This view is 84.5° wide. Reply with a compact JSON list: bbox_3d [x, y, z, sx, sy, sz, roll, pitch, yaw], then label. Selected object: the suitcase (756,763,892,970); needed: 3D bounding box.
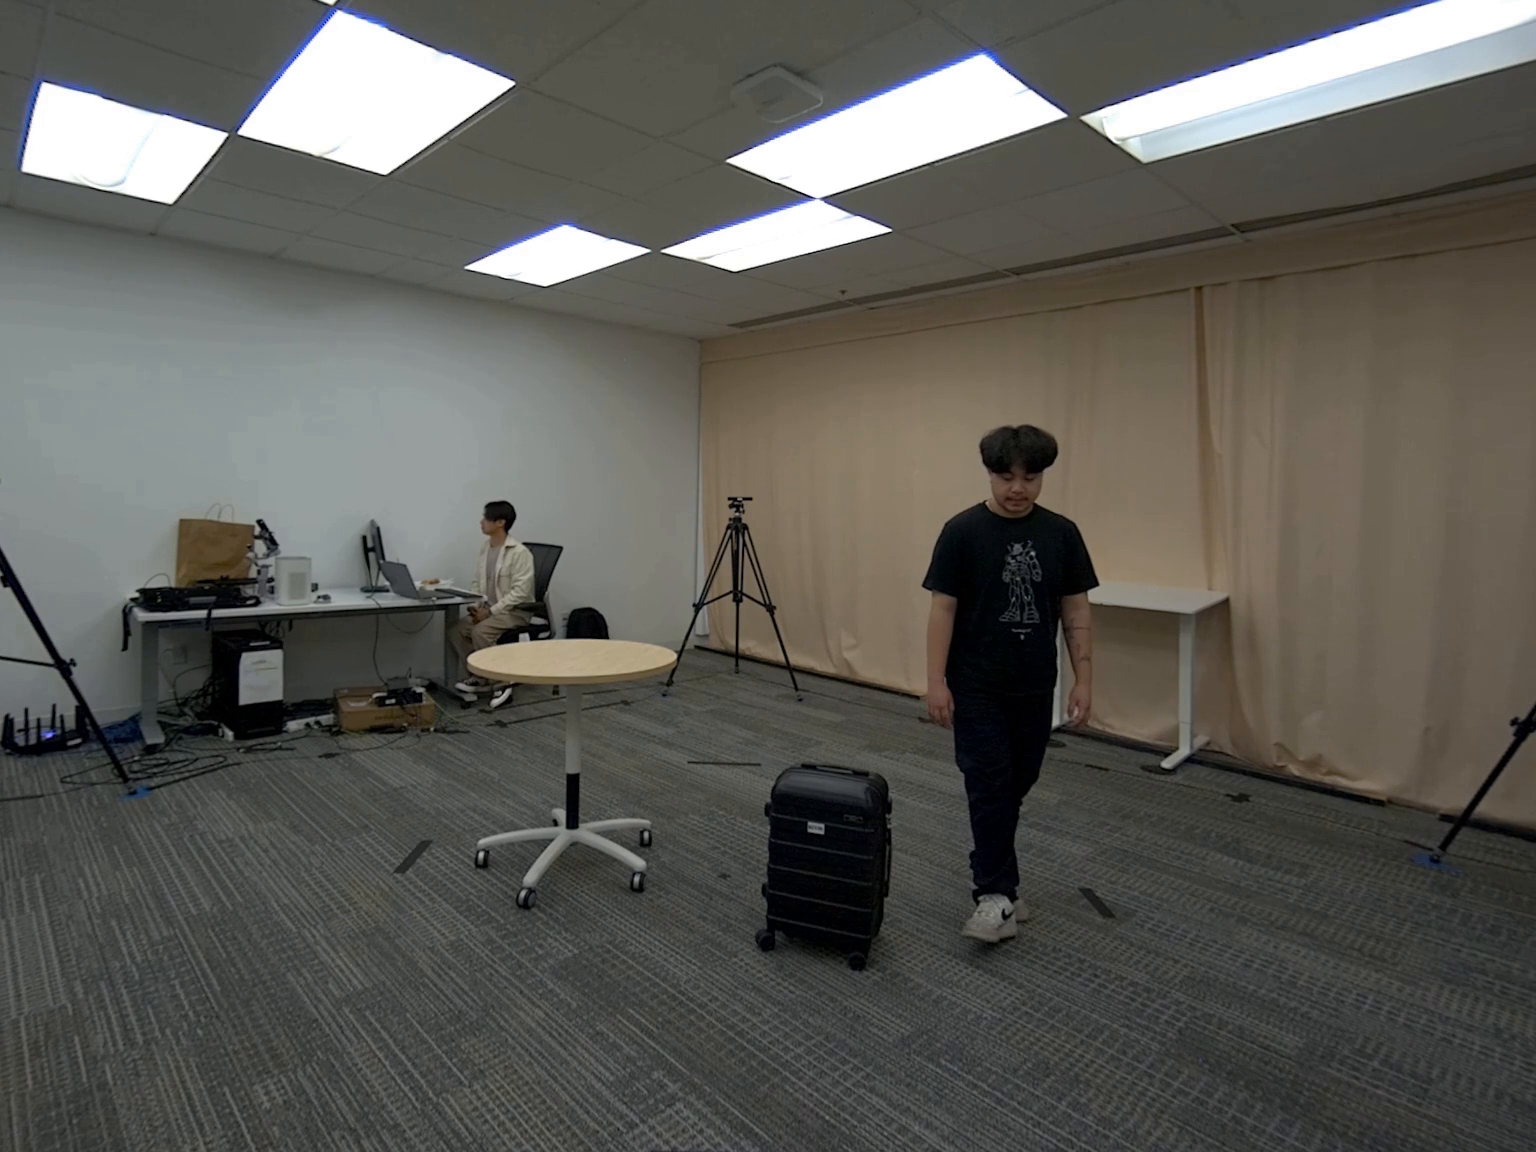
[{"bbox_3d":[0.186,0.883,2.638,0.381,0.548,0.245,4,4,19],"label":"suitcase"}]
